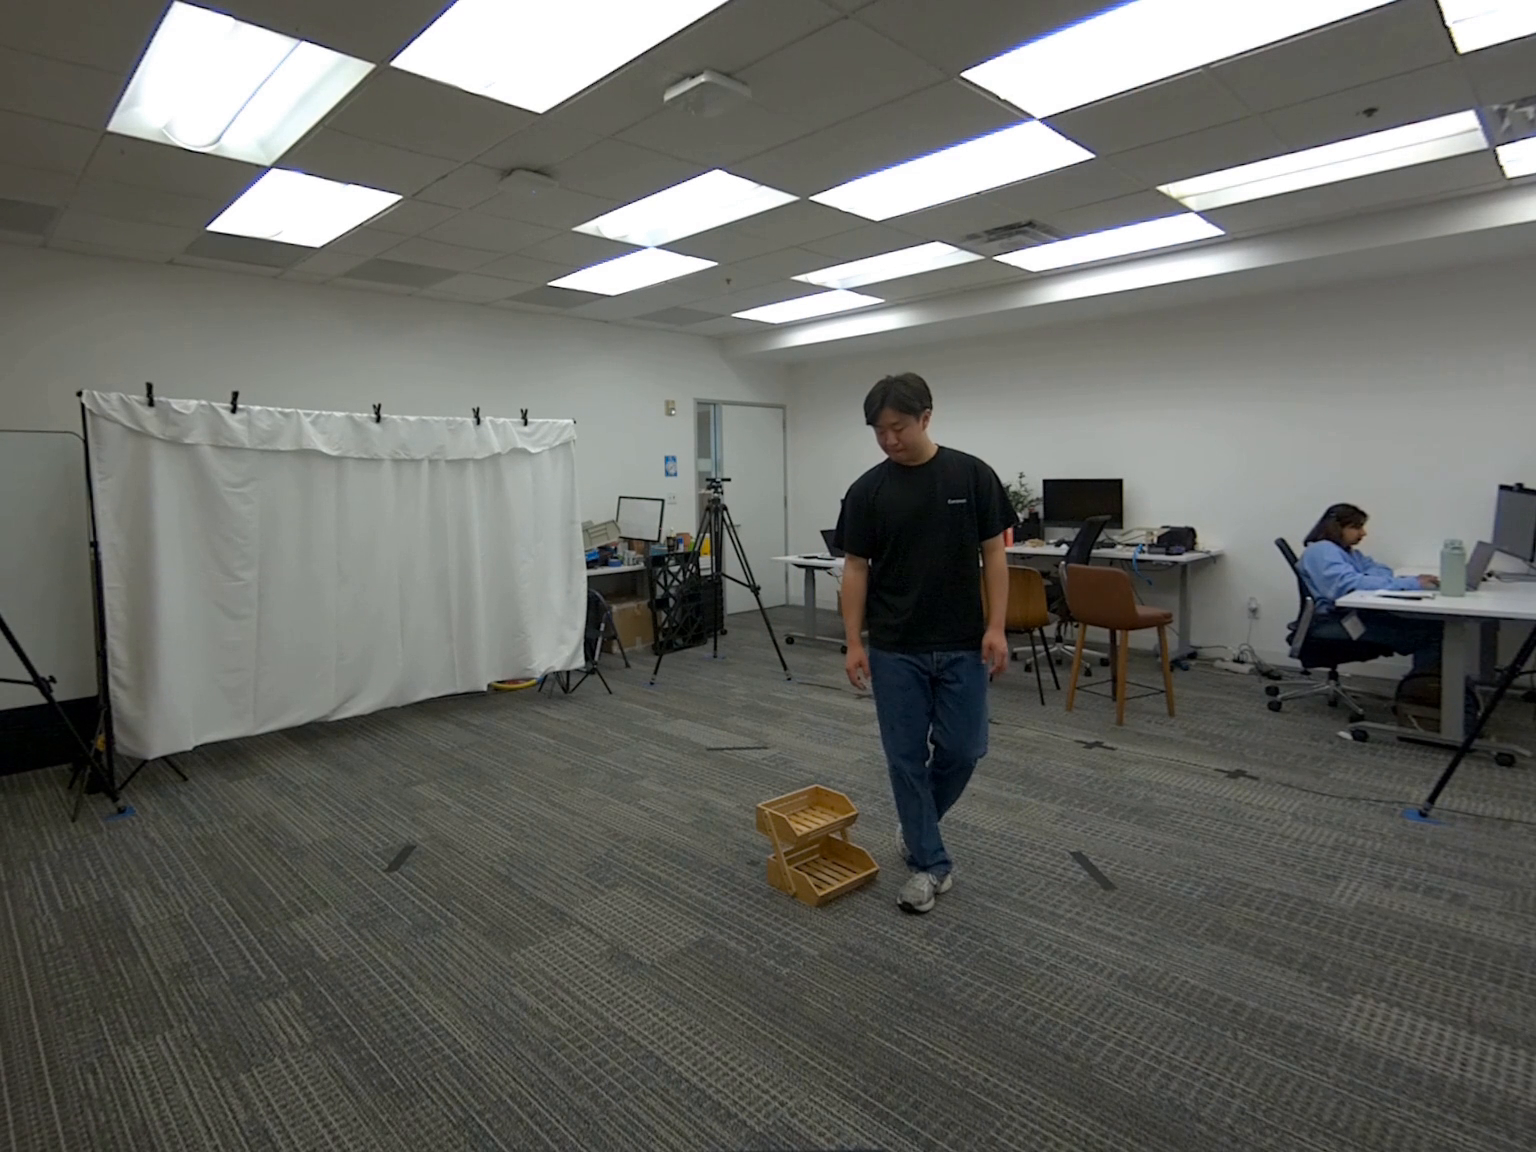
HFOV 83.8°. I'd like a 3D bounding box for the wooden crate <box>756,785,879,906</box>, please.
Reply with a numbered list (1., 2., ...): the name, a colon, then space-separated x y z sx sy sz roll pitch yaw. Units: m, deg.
1. wooden crate: 0.180 0.923 2.961 0.316 0.272 0.311 -5 6 -41
